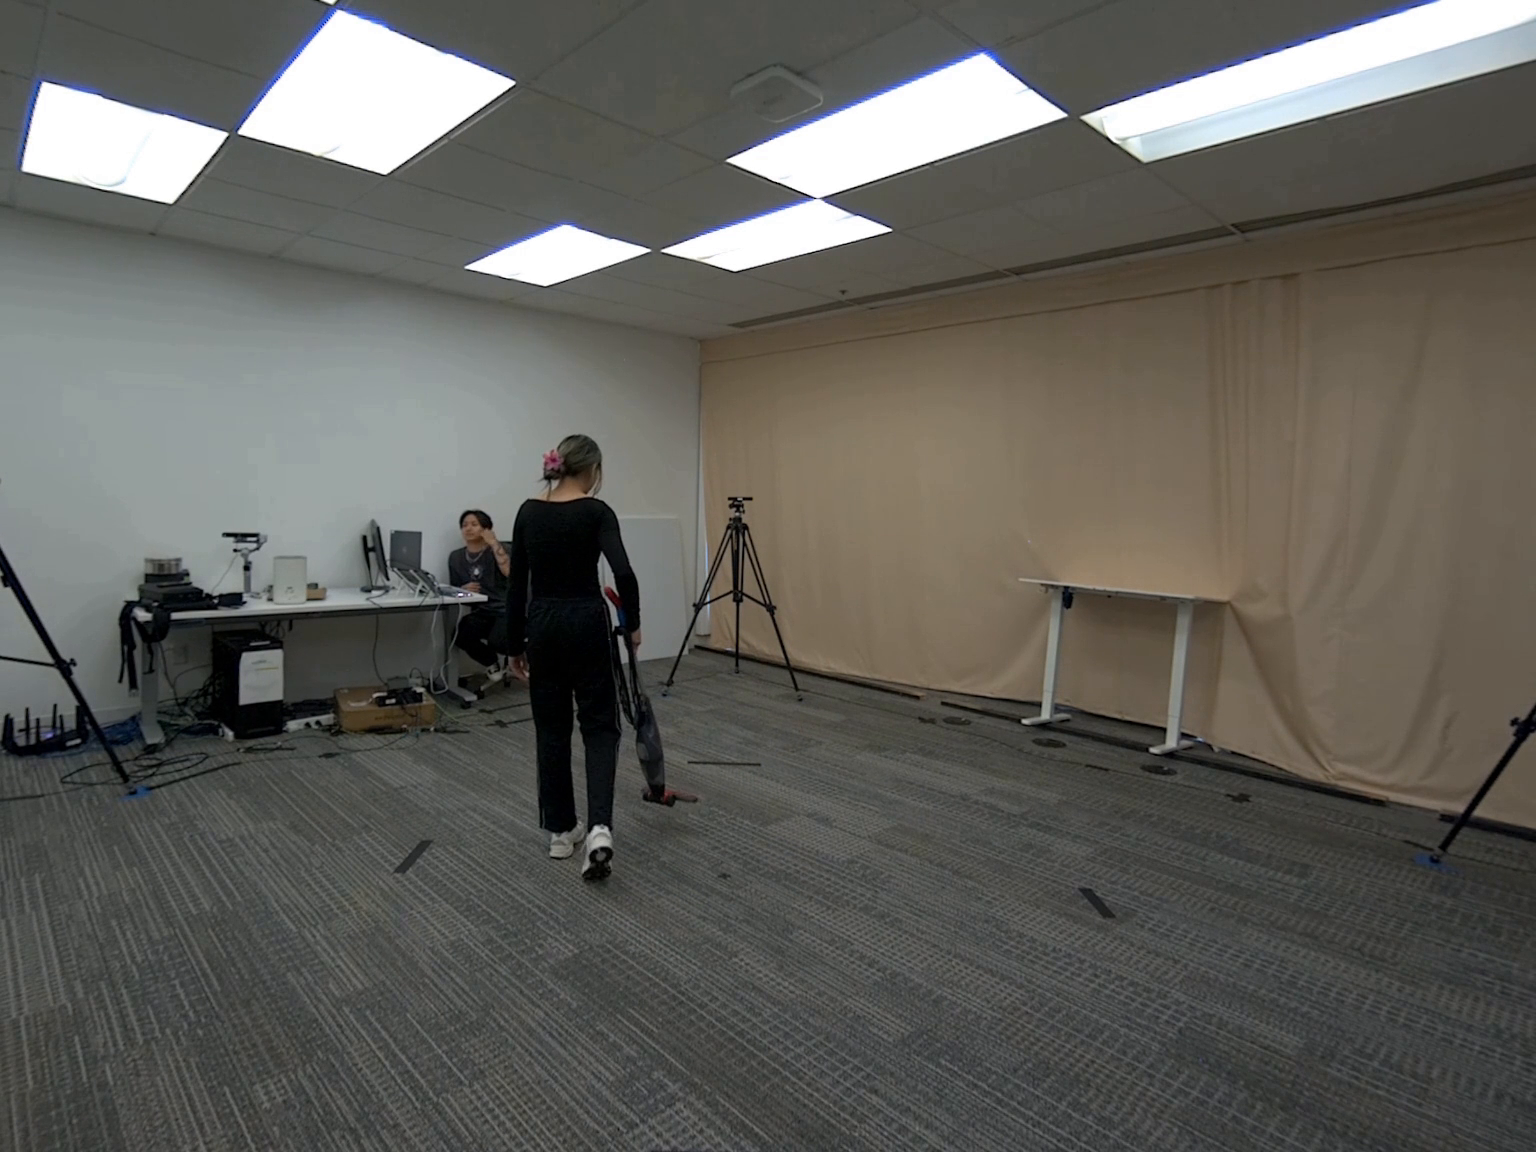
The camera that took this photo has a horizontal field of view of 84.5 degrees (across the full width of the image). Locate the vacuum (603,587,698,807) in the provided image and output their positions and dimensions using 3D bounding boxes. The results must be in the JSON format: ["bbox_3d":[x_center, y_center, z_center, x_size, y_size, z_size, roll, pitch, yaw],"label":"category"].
[{"bbox_3d":[-0.509,0.500,3.321,0.258,1.027,0.144,8,32,29],"label":"vacuum"}]
